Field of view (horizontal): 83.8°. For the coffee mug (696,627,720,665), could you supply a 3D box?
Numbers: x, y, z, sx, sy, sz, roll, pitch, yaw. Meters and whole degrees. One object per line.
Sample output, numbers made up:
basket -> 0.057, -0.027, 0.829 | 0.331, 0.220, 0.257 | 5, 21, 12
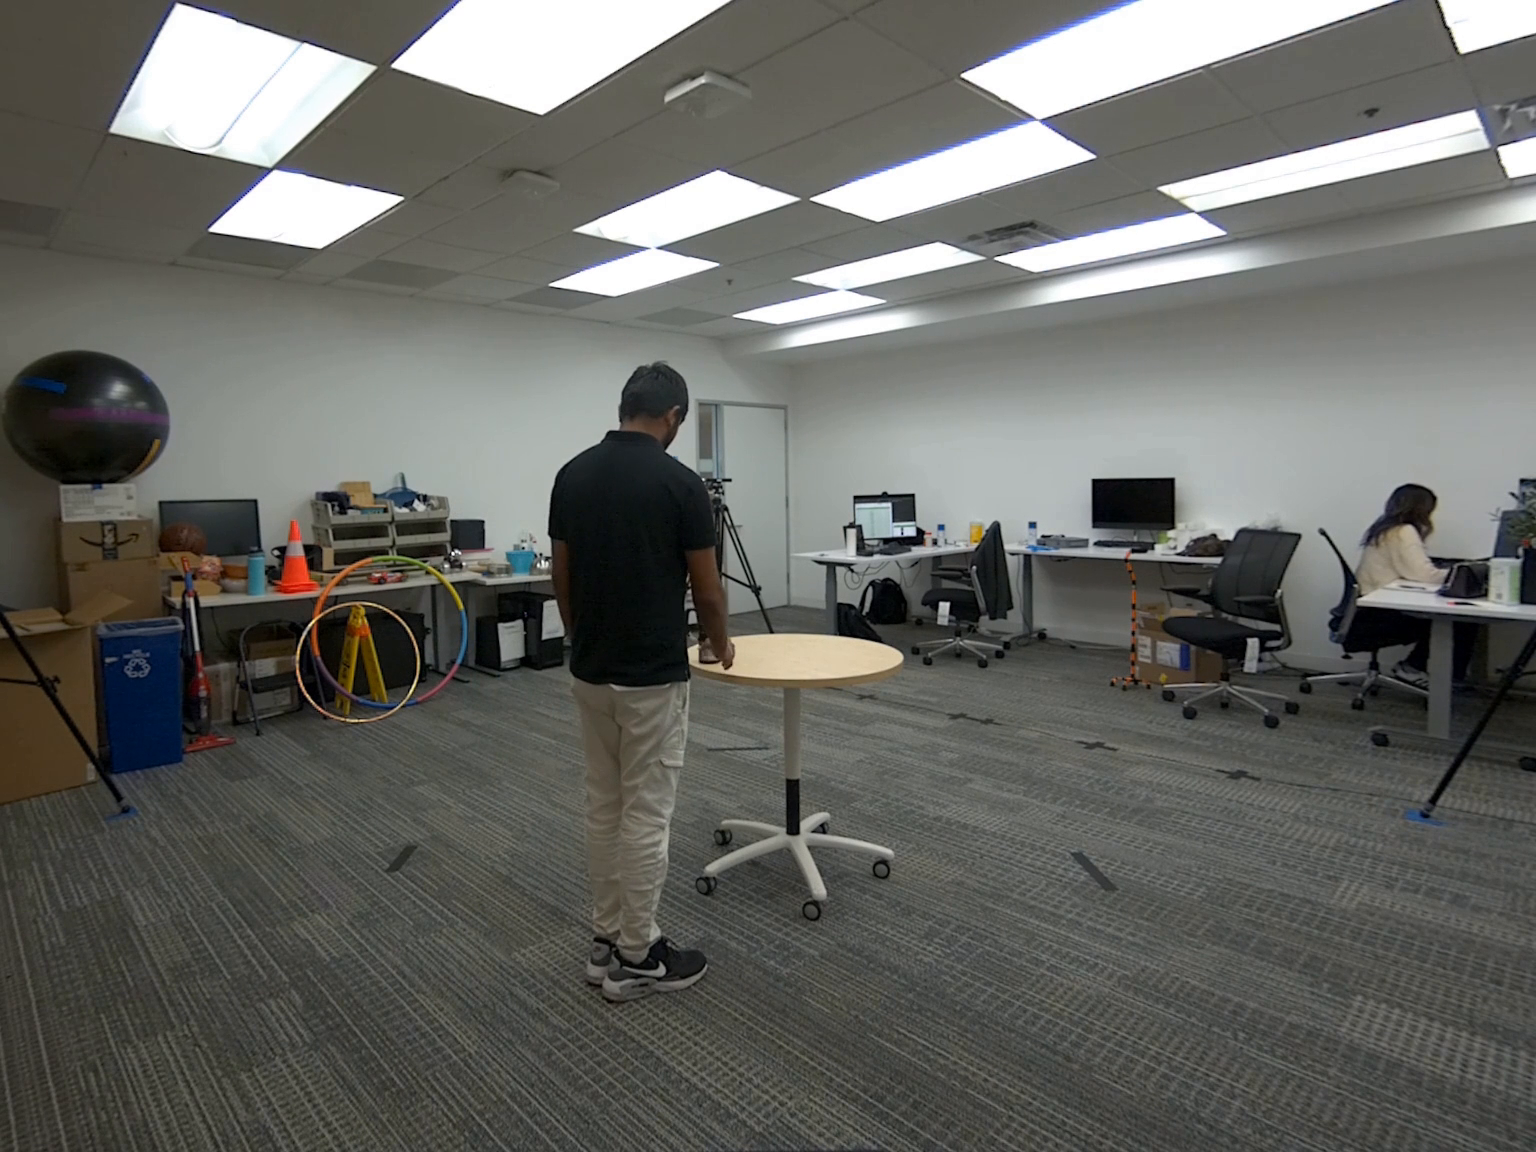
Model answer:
coffee mug -> -0.212, 0.188, 2.859 | 0.125, 0.202, 0.086 | 7, 8, 23
